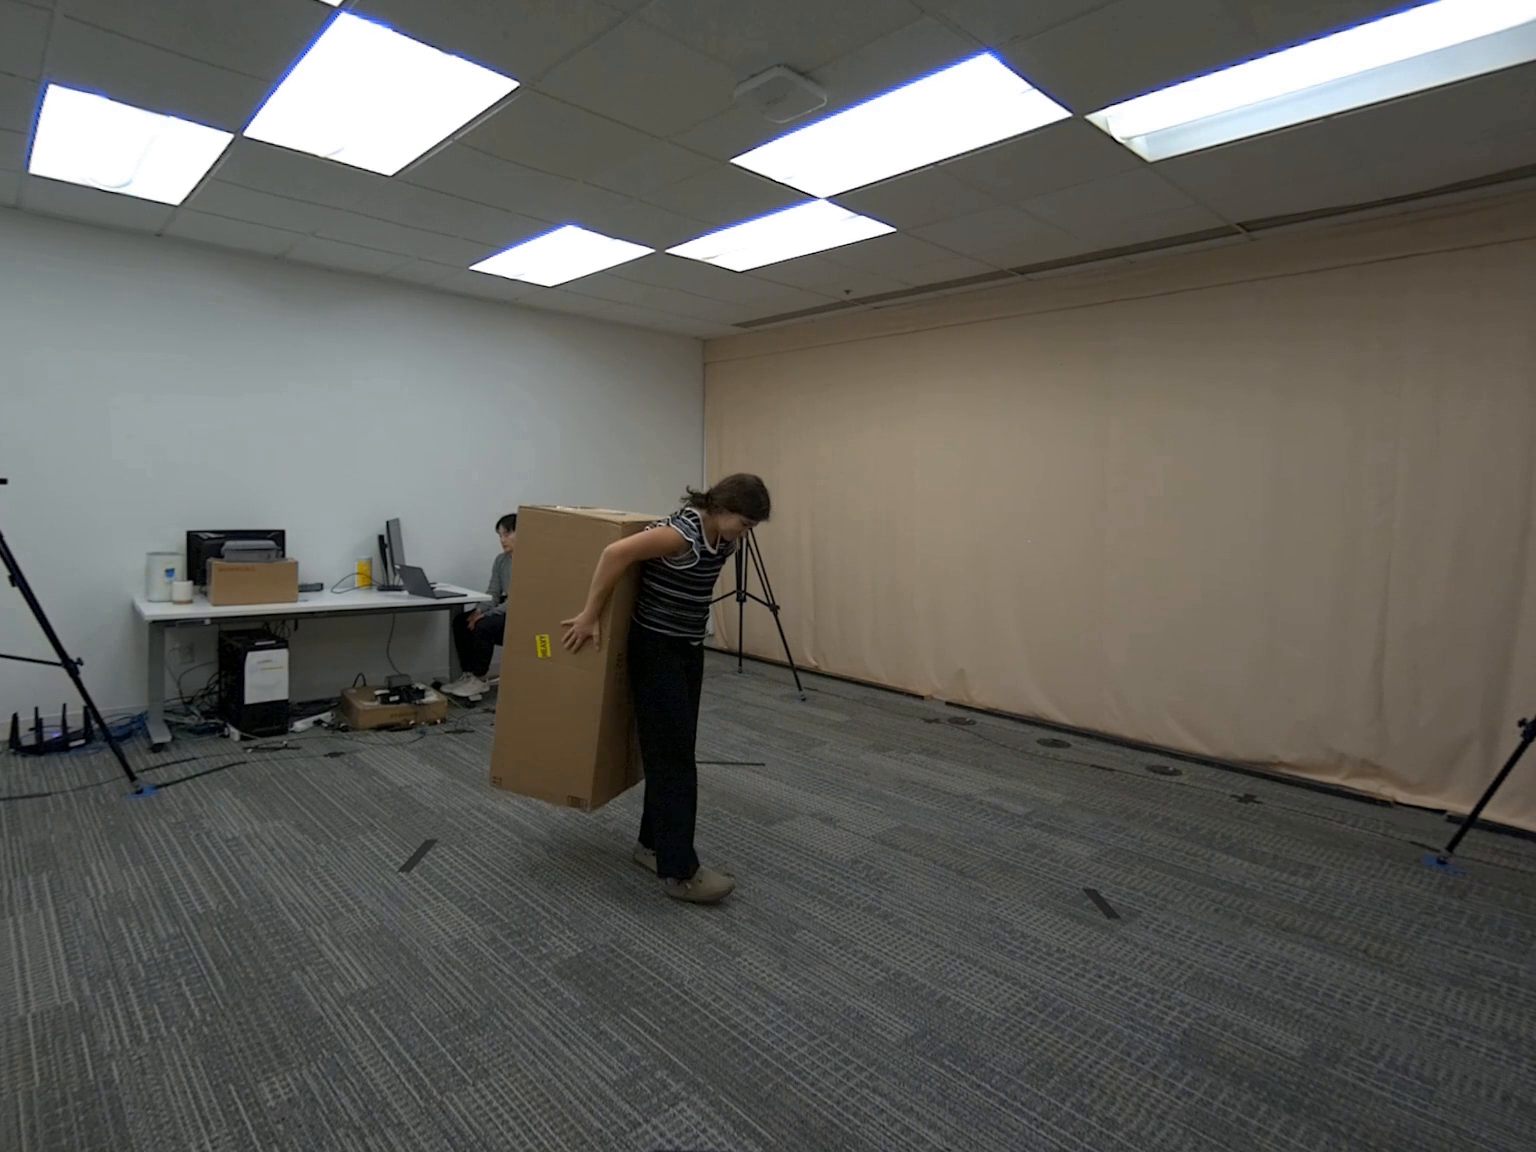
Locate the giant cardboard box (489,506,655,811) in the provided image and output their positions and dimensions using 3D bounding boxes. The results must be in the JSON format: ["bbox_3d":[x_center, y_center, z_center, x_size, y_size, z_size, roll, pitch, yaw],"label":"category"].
[{"bbox_3d":[-0.667,0.273,3.194,0.433,1.023,0.569,9,5,18],"label":"giant cardboard box"}]
